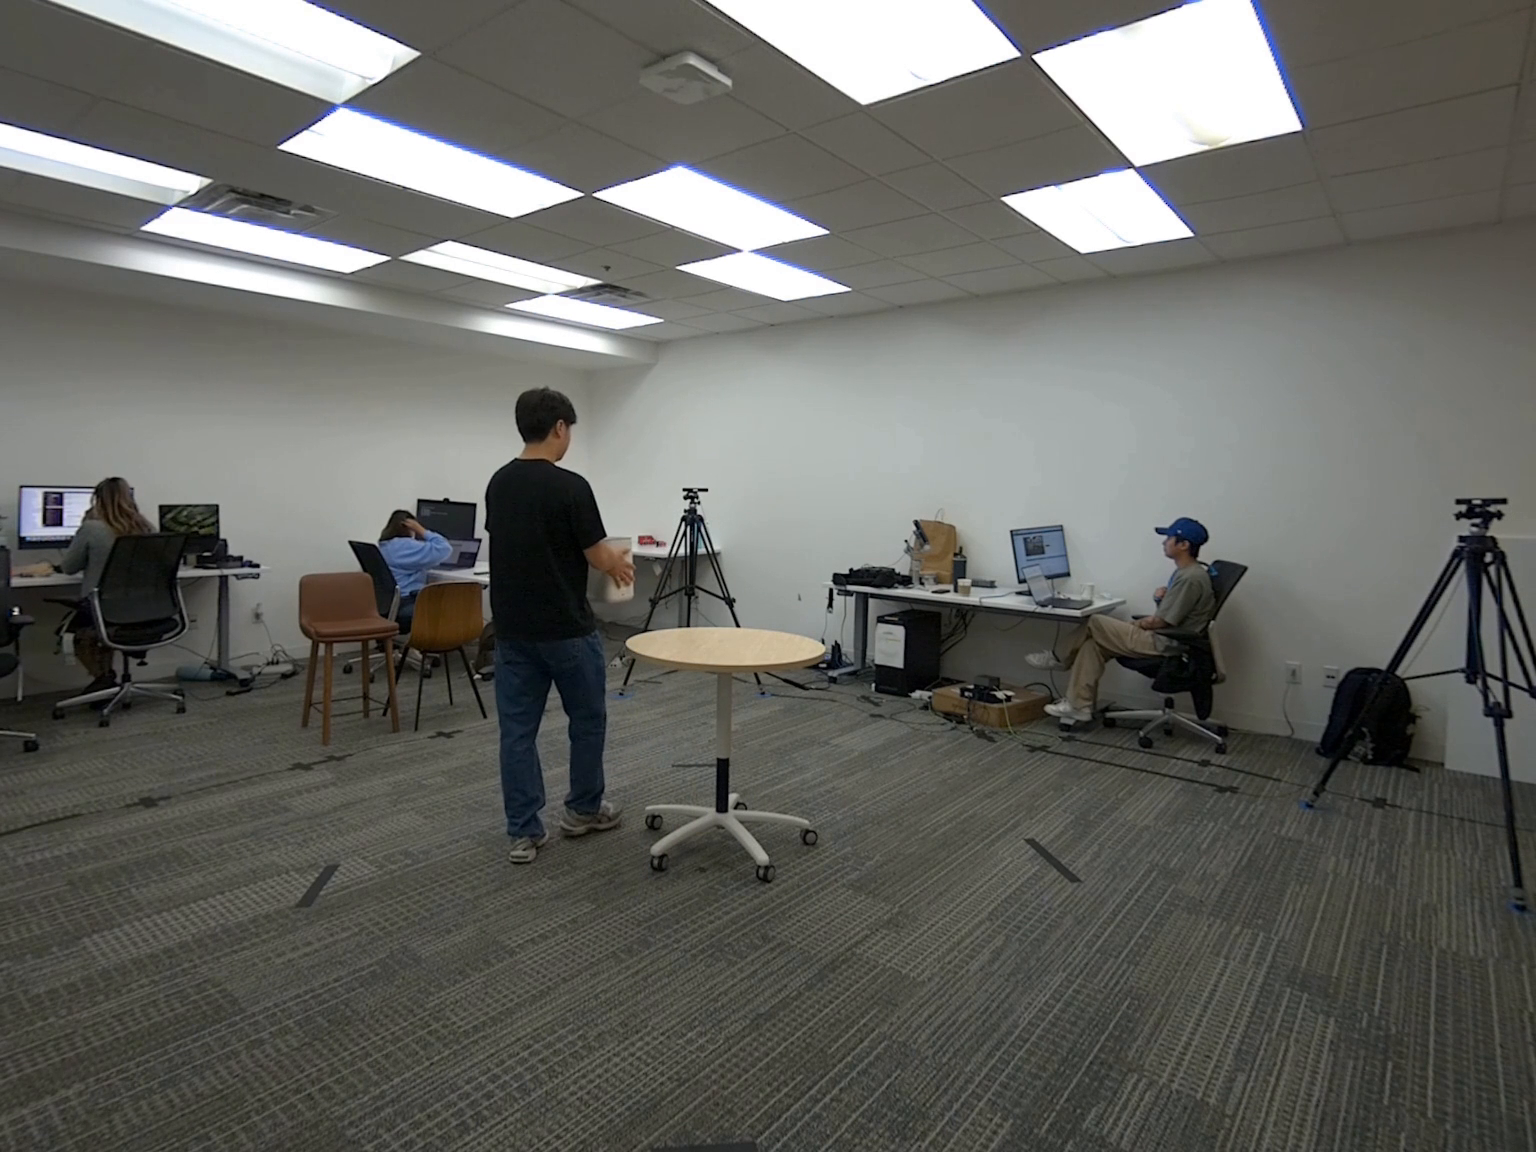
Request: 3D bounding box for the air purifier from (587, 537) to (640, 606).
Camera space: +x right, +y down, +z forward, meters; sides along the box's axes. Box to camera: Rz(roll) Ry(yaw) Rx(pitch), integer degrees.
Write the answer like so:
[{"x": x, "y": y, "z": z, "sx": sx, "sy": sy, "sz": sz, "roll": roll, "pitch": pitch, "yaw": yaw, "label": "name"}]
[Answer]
[{"x": -0.667, "y": -0.026, "z": 3.510, "sx": 0.177, "sy": 0.265, "sz": 0.166, "roll": 0, "pitch": 4, "yaw": 37, "label": "air purifier"}]
